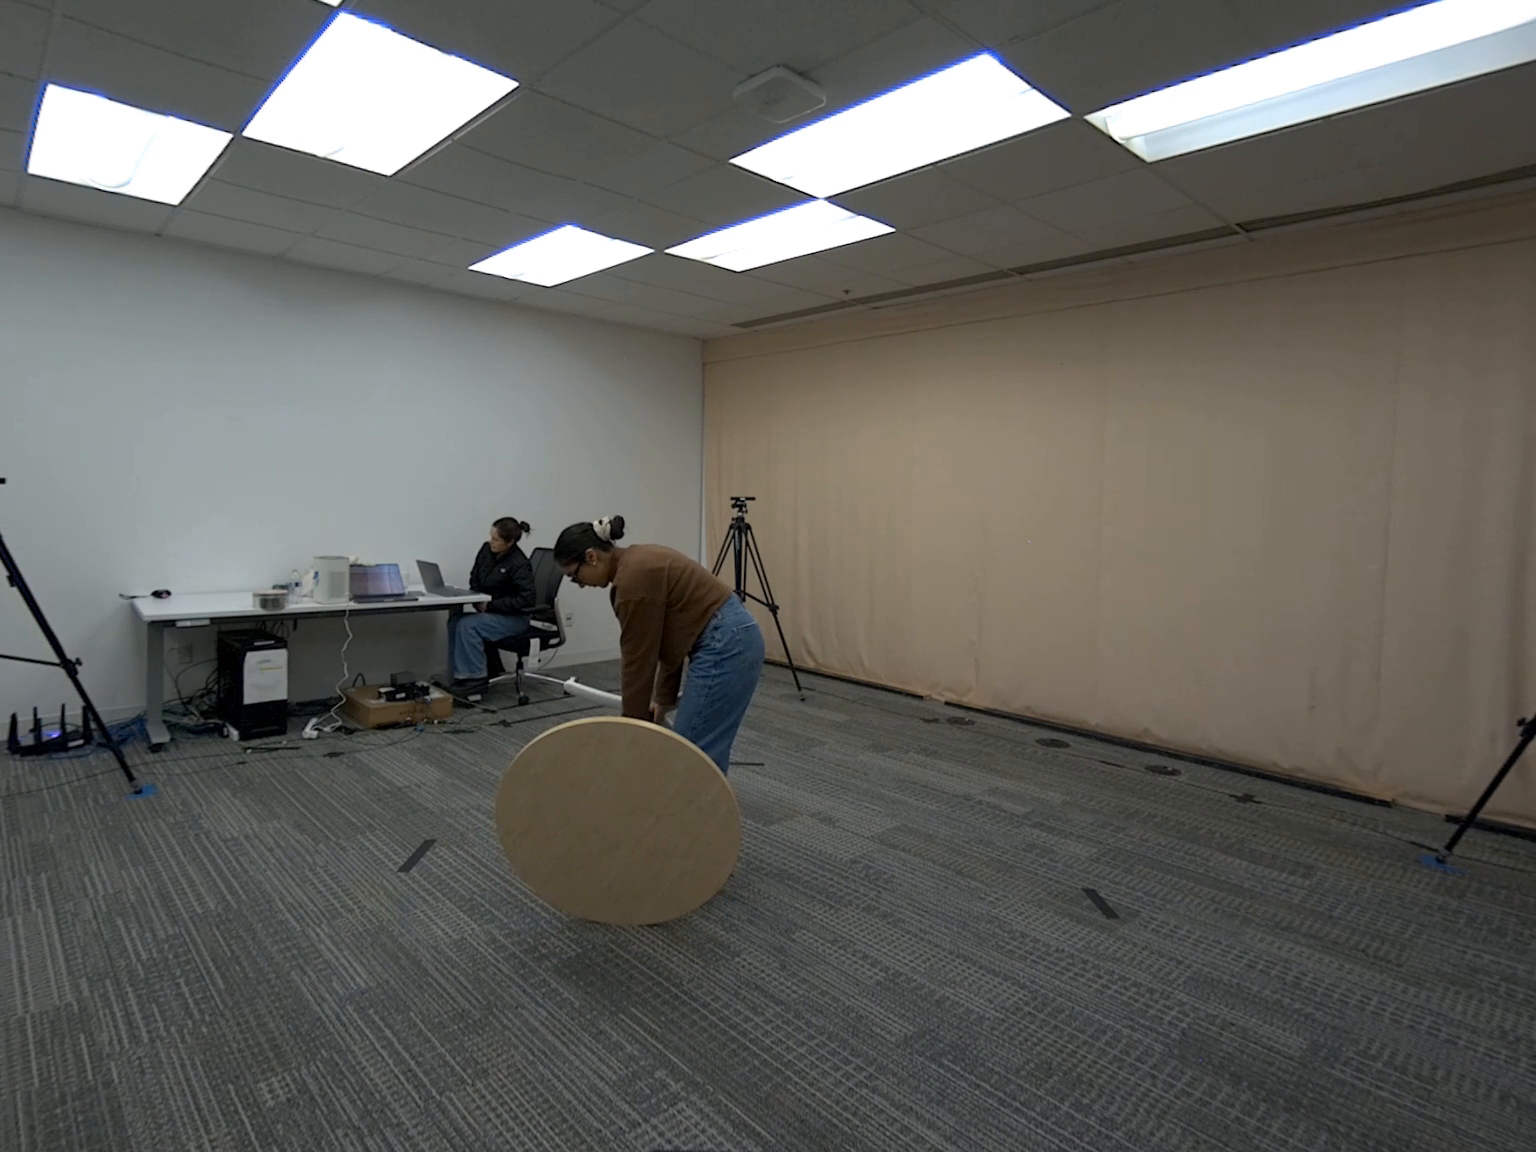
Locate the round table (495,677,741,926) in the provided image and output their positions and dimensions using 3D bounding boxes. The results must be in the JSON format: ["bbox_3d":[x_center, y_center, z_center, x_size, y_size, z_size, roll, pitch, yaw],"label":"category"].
[{"bbox_3d":[-0.468,0.635,2.965,0.765,0.753,0.804,1,21,2],"label":"round table"}]
